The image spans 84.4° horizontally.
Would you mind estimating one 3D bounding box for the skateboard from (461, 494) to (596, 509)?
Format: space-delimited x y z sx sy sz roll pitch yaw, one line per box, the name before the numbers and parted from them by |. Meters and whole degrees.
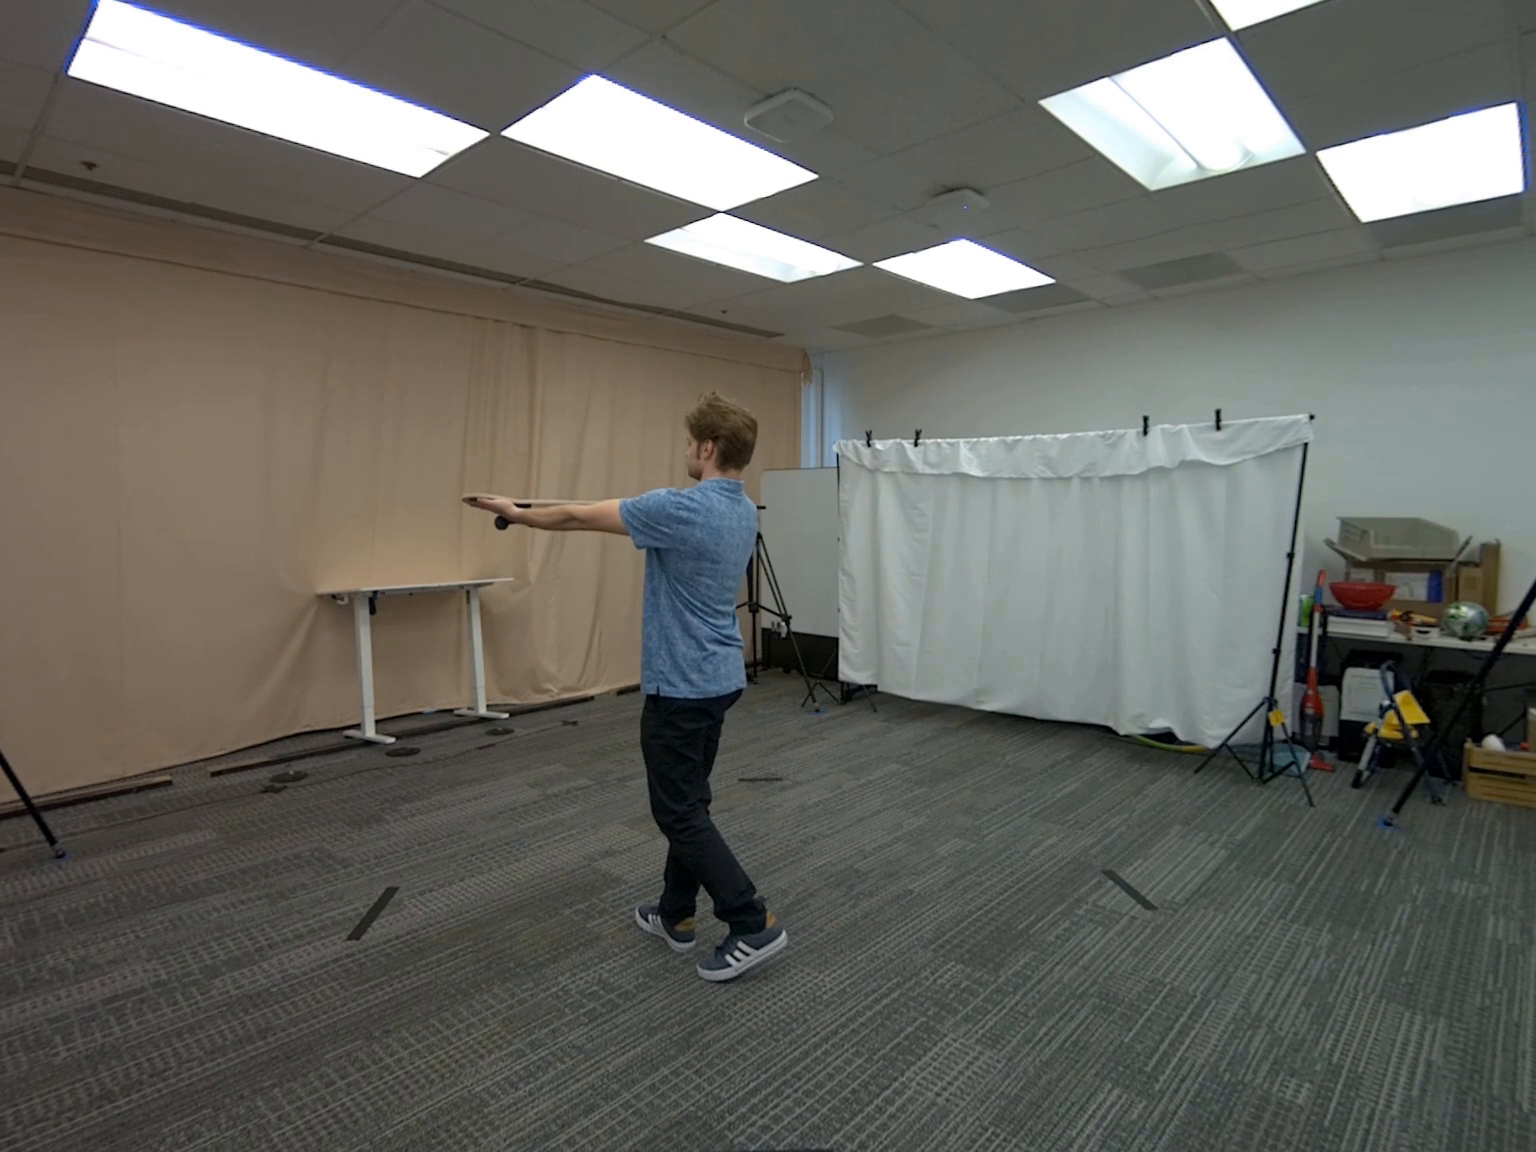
skateboard | -0.687 -0.211 2.942 0.199 0.110 0.766 -3 4 28
